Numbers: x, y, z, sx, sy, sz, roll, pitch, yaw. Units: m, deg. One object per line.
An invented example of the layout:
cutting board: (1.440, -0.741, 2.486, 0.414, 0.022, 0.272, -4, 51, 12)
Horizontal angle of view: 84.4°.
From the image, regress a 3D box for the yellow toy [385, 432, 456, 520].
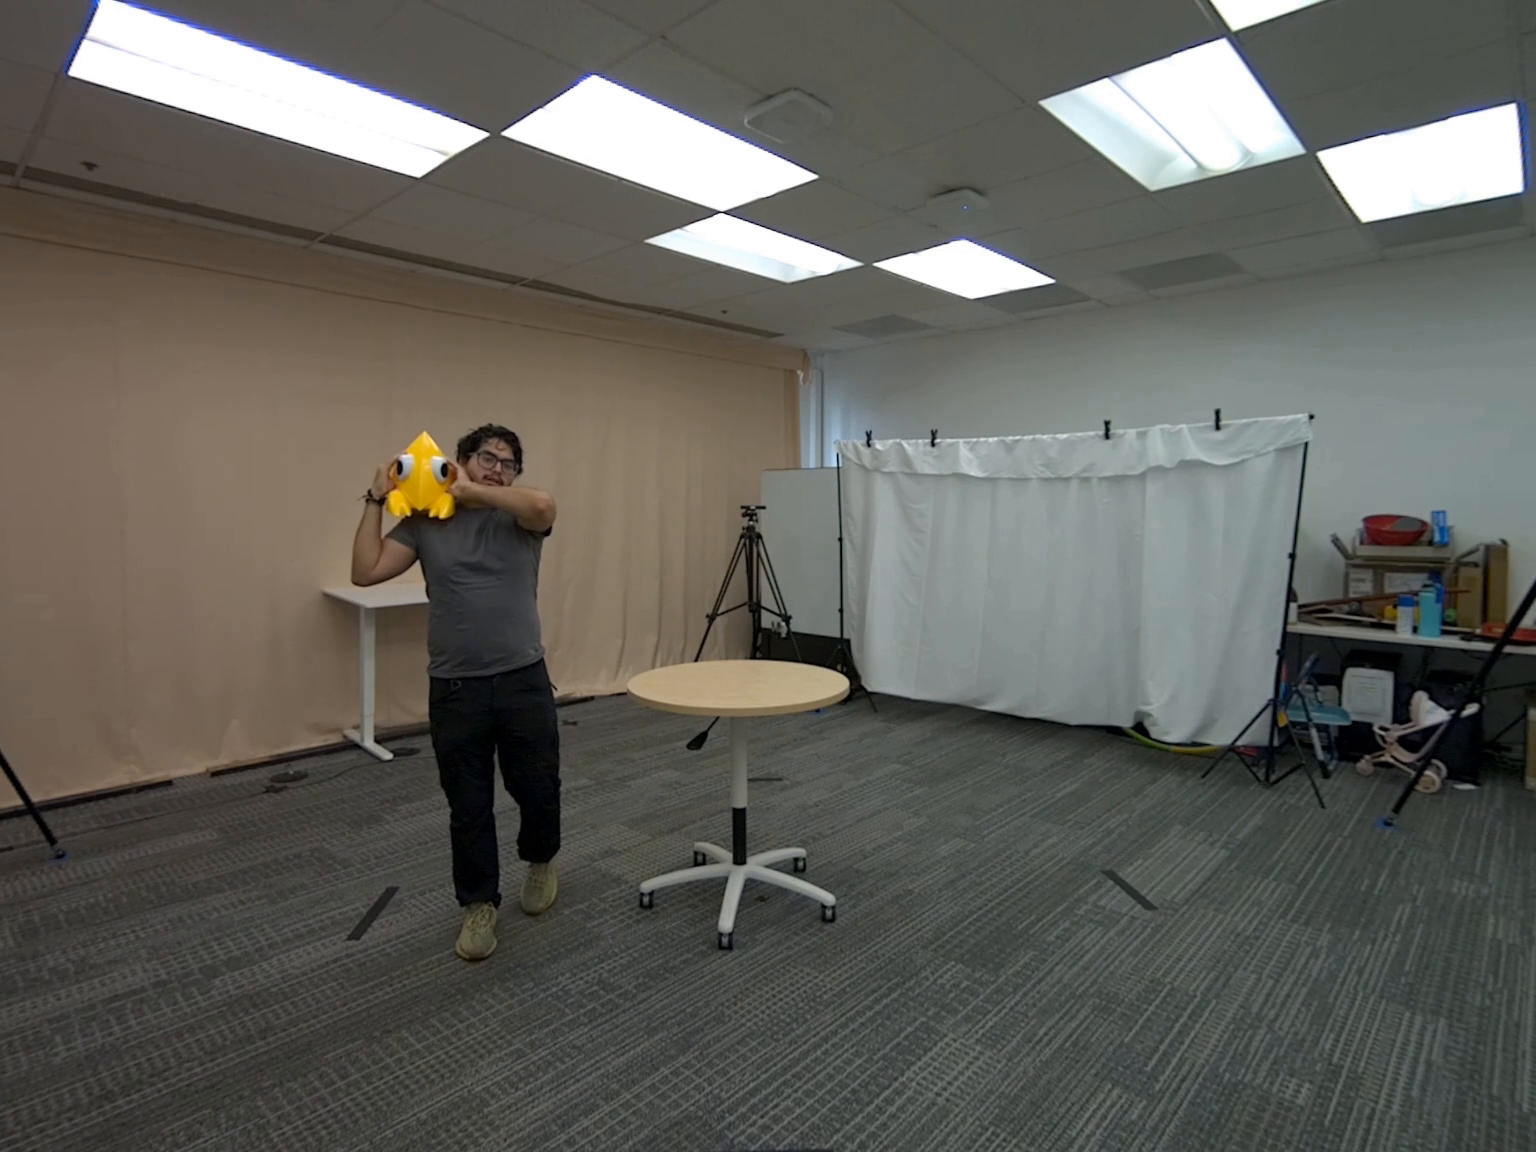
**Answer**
yellow toy: (-1.053, -0.317, 2.578, 0.201, 0.229, 0.198, 3, 19, -19)
